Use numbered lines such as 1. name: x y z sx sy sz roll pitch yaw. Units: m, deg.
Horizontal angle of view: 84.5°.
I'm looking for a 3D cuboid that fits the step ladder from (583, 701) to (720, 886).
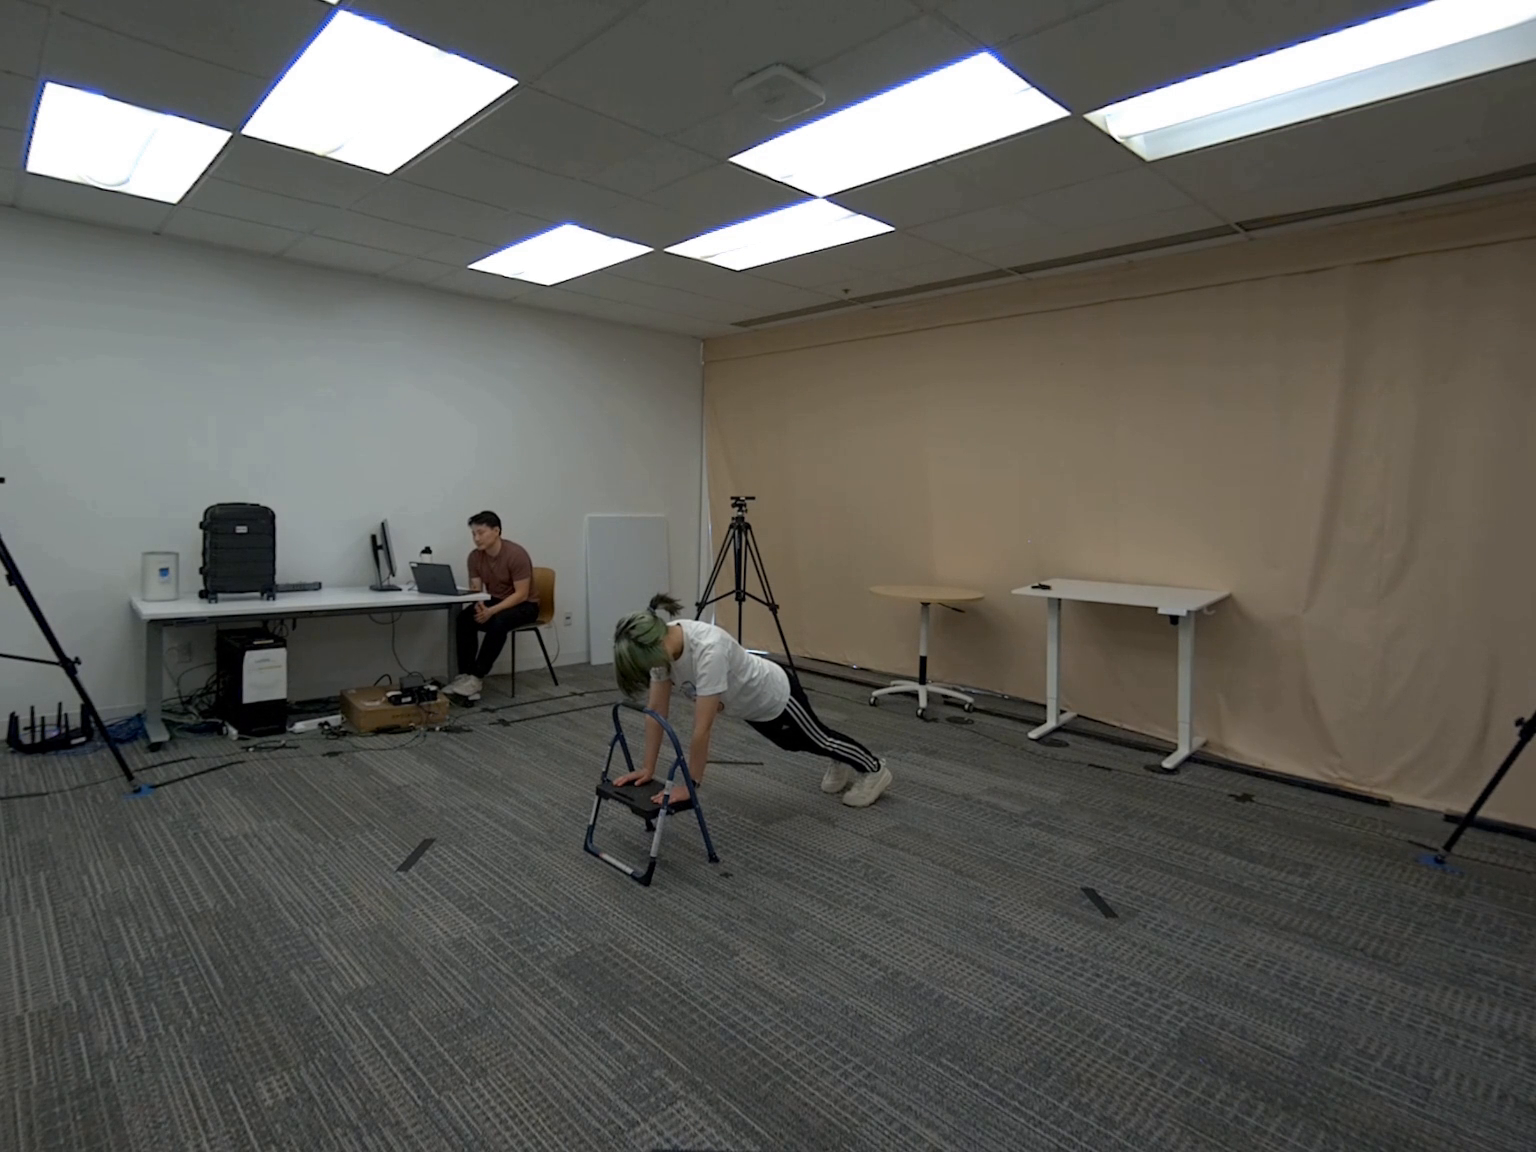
1. step ladder: -0.458 0.783 3.241 0.341 0.604 0.442 -2 5 -44
